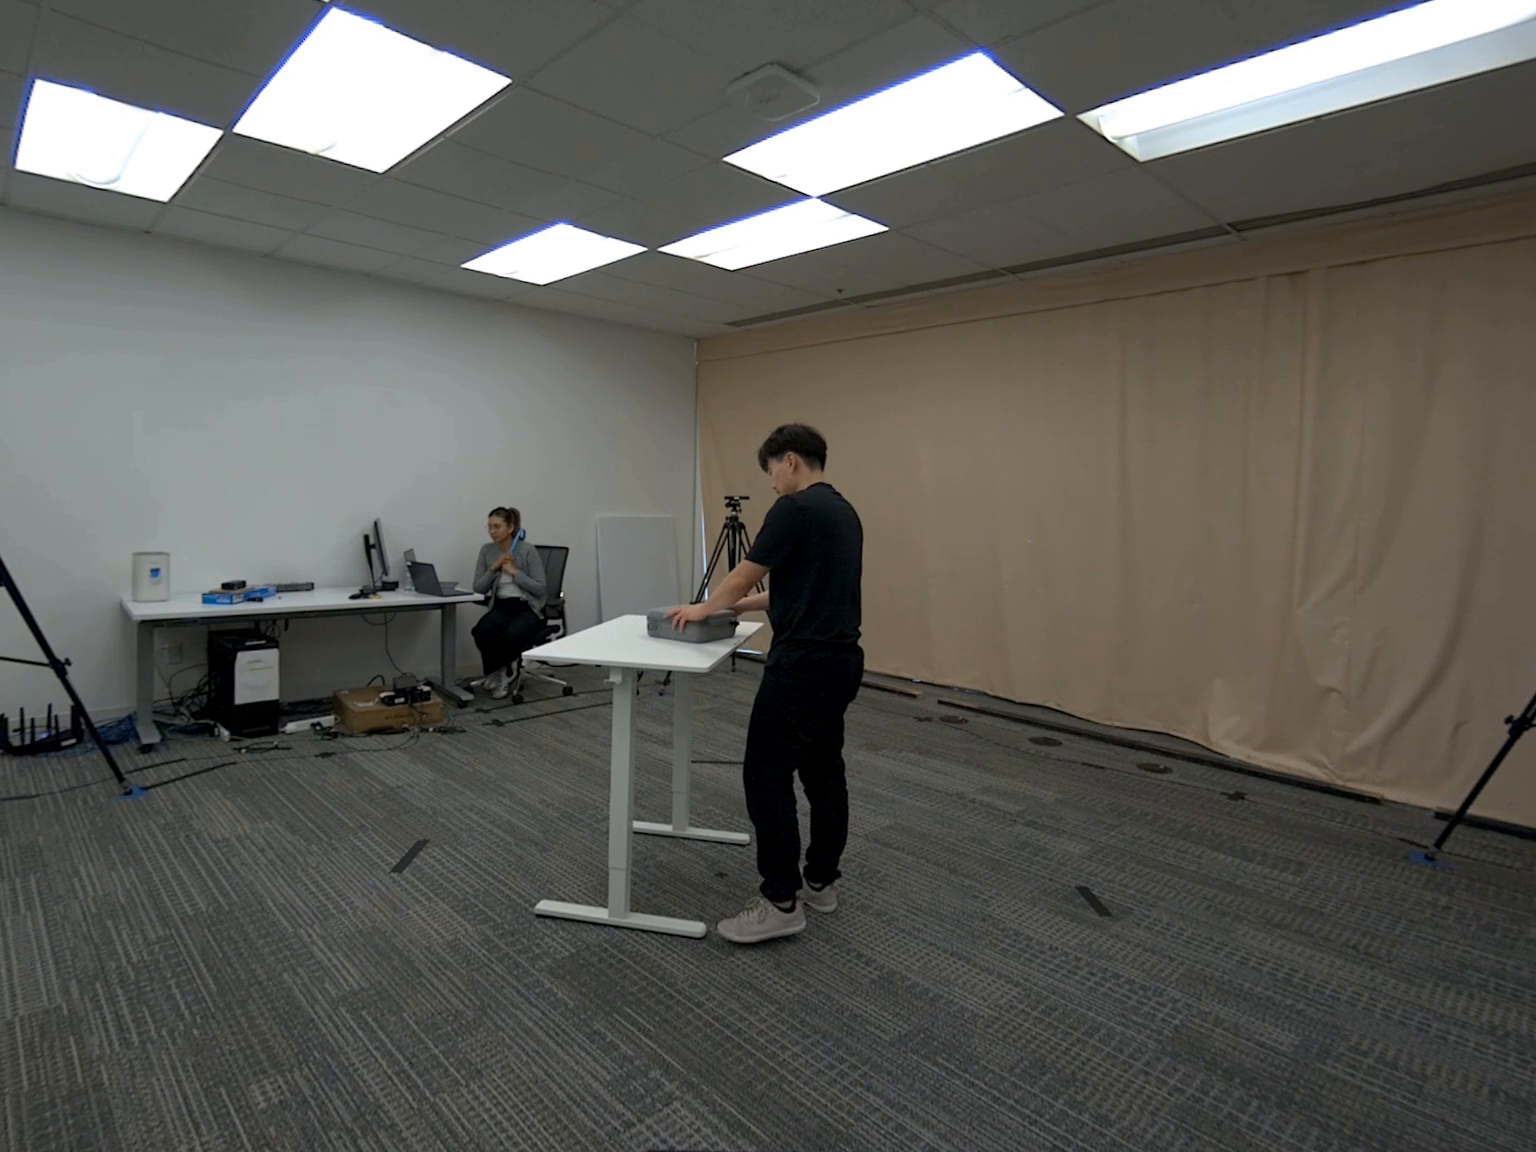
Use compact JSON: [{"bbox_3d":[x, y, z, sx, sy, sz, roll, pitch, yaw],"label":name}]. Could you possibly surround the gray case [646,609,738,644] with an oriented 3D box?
[{"bbox_3d":[-0.289,0.171,3.076,0.267,0.104,0.252,6,7,33],"label":"gray case"}]
